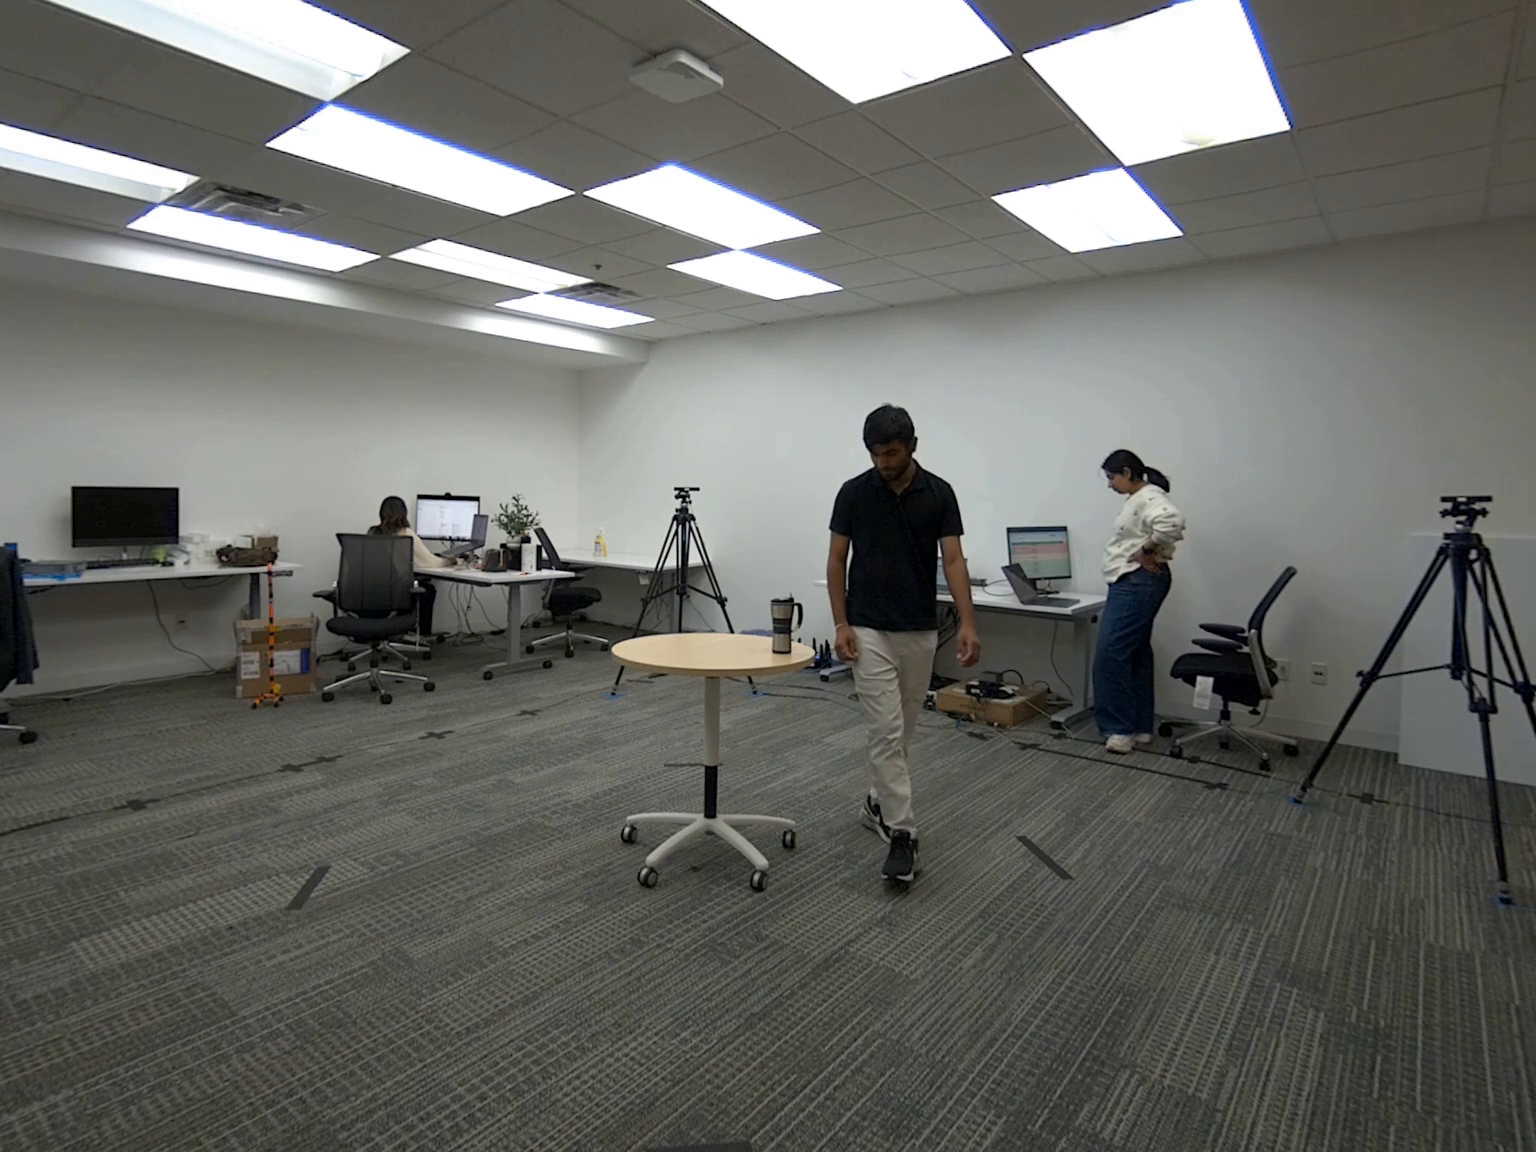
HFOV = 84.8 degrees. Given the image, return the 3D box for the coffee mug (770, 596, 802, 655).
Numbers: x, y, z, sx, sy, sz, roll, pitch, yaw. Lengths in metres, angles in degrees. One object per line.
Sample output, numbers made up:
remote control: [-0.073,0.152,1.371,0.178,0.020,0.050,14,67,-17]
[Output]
coffee mug: [0.067,0.185,3.153,0.124,0.203,0.086,0,0,19]
